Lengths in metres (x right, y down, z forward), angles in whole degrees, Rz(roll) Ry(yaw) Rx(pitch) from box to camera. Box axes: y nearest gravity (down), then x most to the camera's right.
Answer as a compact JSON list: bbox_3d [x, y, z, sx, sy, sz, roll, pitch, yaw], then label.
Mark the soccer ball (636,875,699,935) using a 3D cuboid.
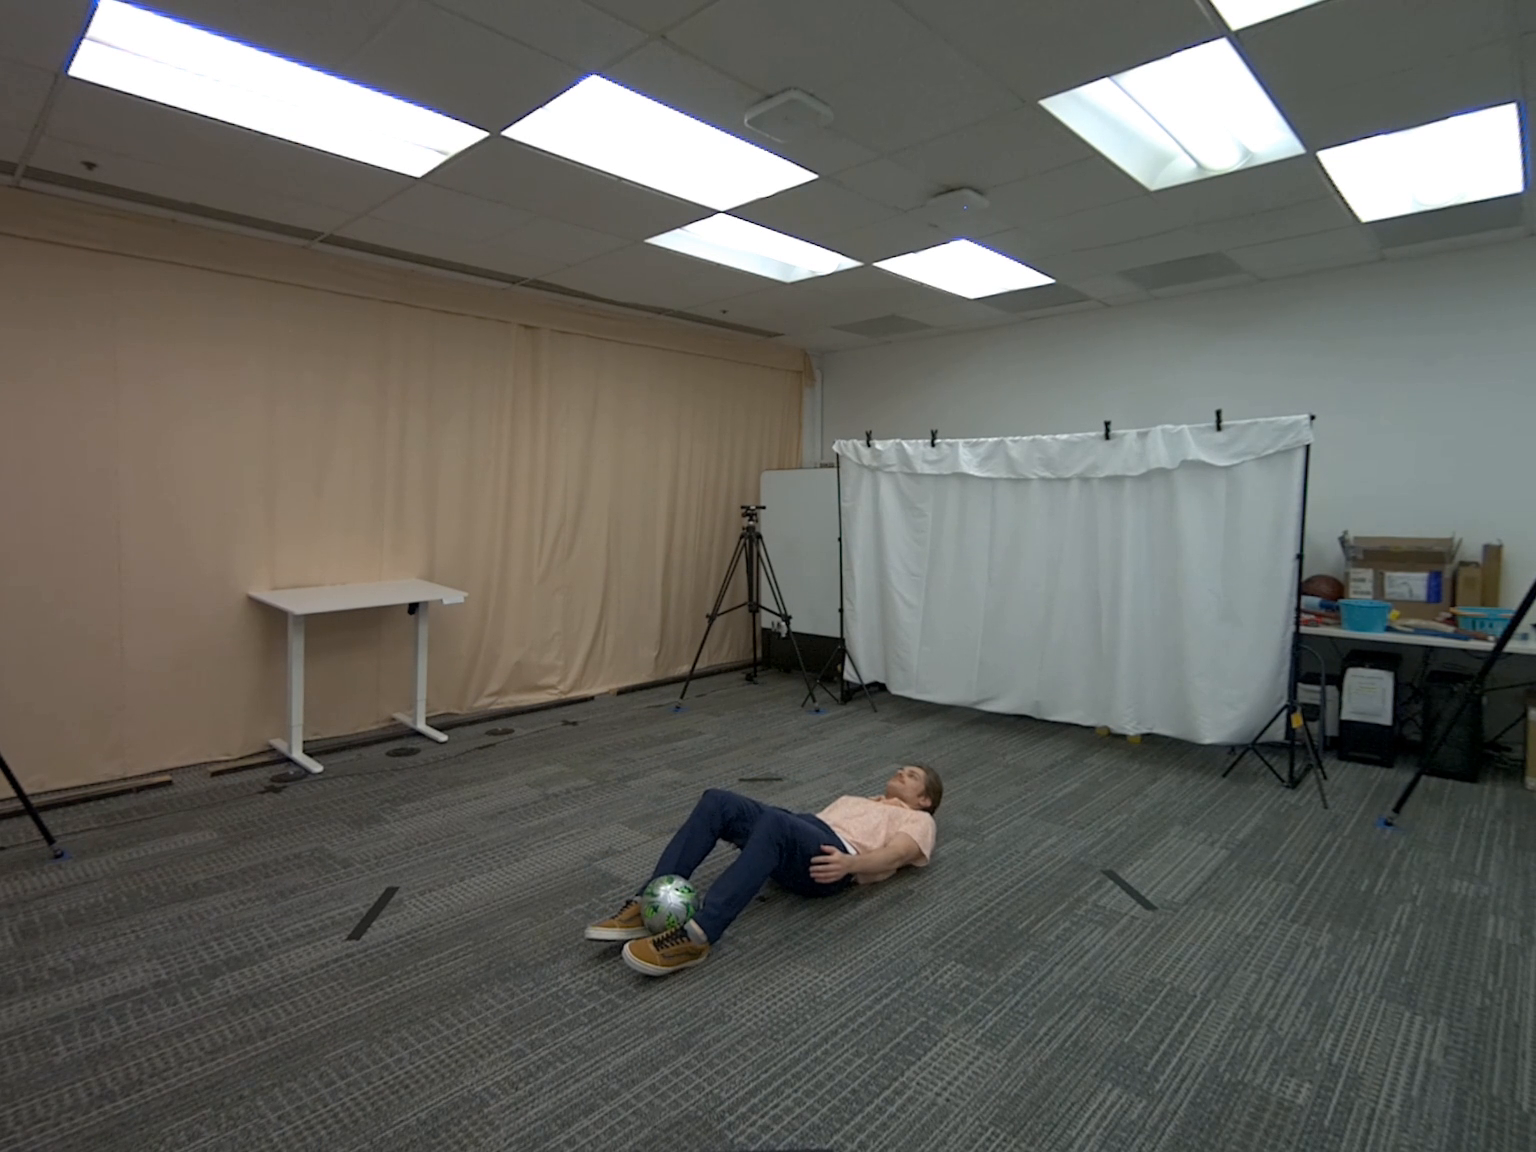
[{"bbox_3d":[-0.305,1.031,2.649,0.187,0.187,0.188,0,4,-2],"label":"soccer ball"}]
